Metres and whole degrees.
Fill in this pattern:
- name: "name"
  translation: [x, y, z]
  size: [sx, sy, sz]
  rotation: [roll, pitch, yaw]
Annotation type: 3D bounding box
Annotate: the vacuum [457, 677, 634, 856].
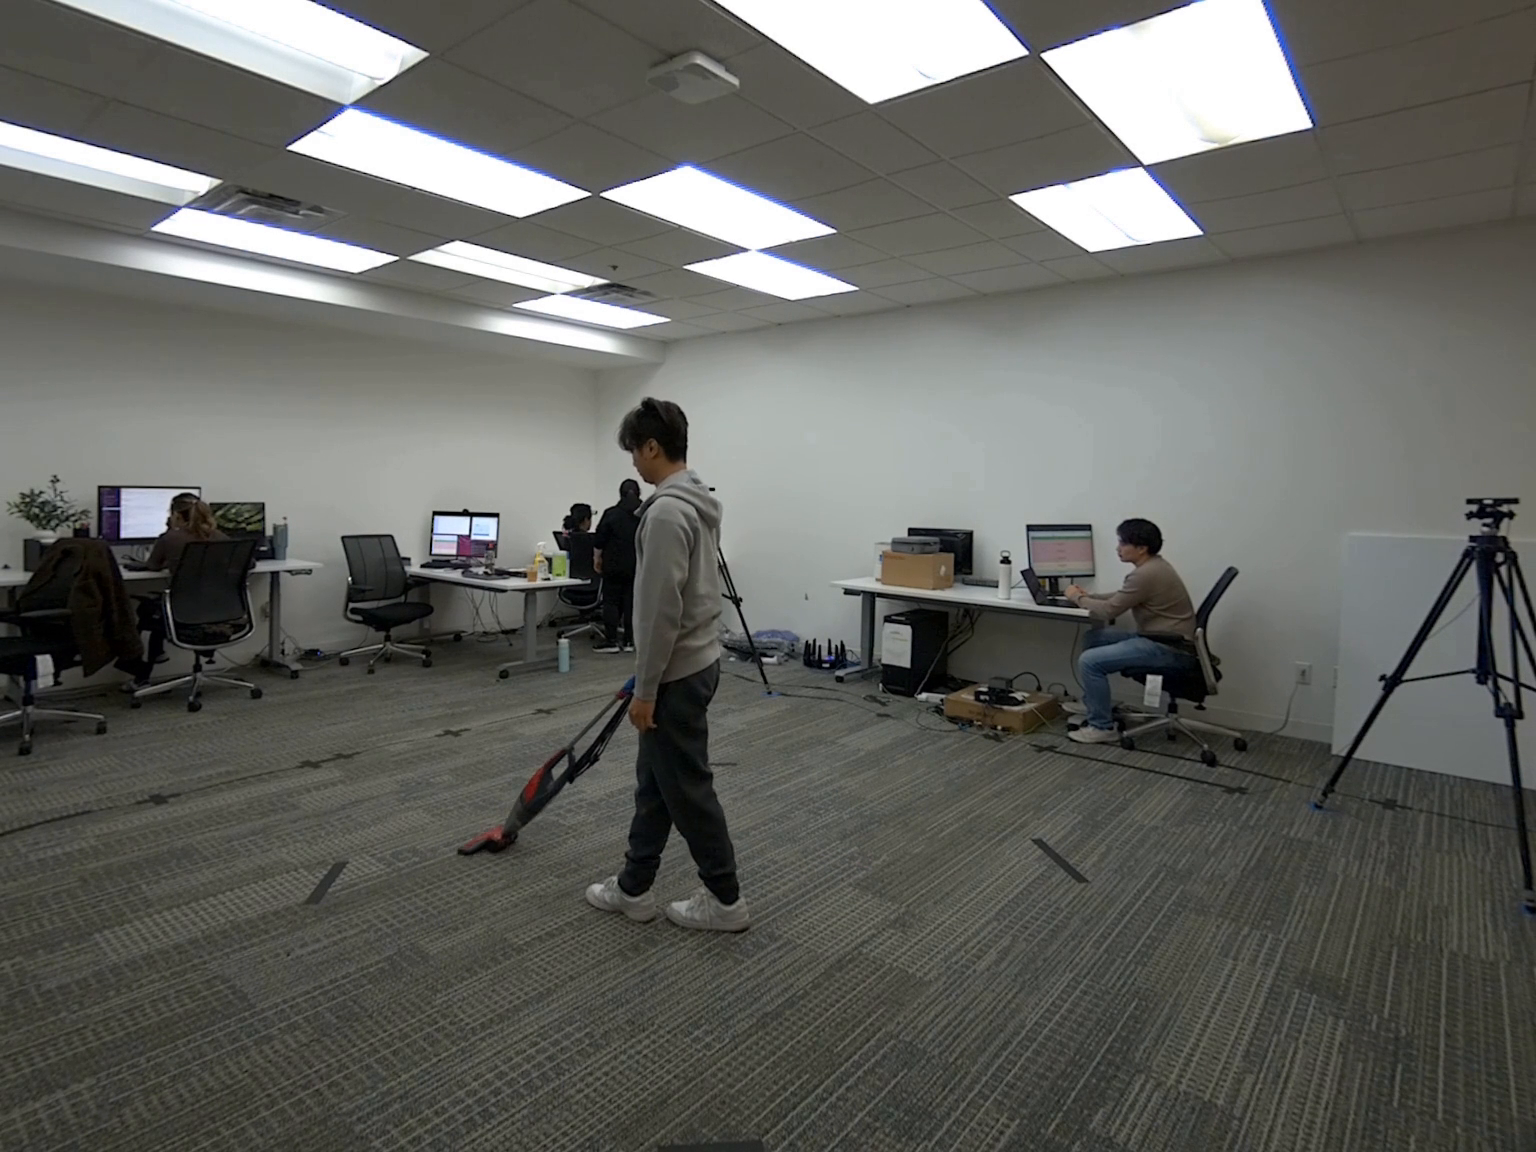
- name: "vacuum"
  translation: [-0.731, 0.667, 3.127]
  size: [0.147, 1.050, 0.247]
  rotation: [48, 18, 12]
